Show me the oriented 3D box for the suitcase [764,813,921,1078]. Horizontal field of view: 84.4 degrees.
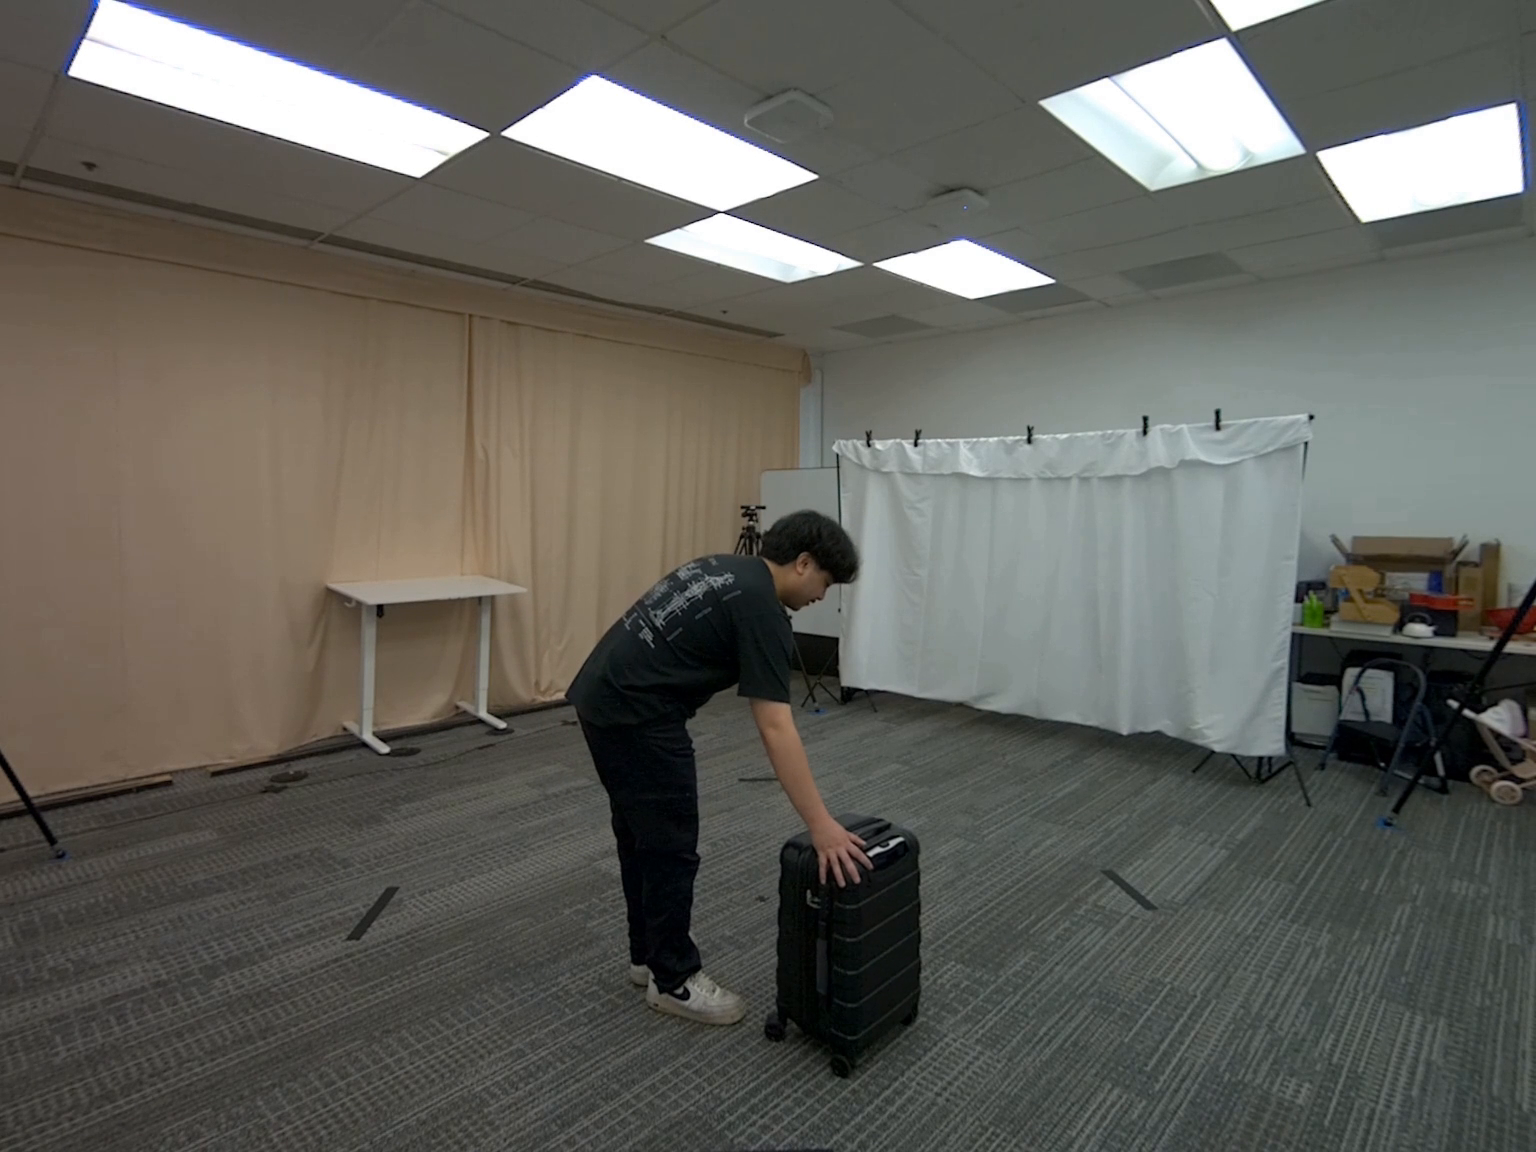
[{"bbox_3d":[0.218,0.934,2.210,0.257,0.548,0.364,5,6,44],"label":"suitcase"}]
